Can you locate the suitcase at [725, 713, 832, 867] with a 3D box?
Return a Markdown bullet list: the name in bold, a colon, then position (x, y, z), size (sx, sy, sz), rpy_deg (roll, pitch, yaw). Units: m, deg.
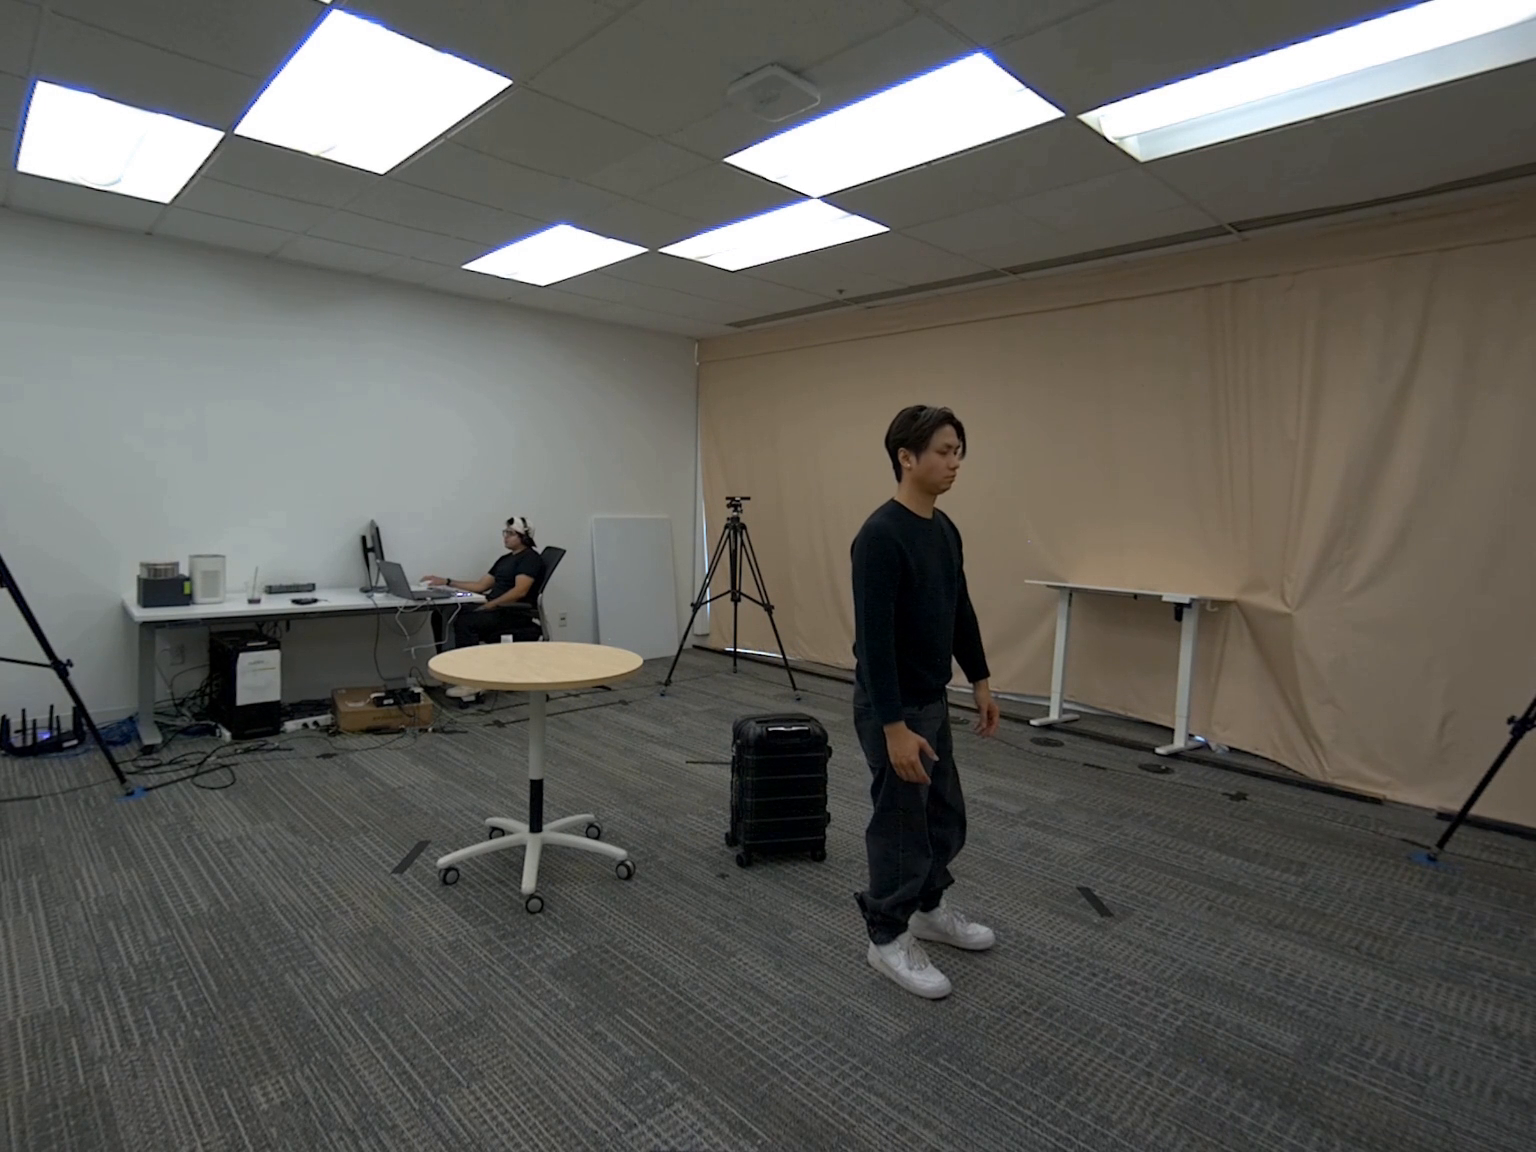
- **suitcase**: position (0.031, 0.814, 3.290), size (0.371, 0.548, 0.252), rpy_deg (1, 4, -15)
